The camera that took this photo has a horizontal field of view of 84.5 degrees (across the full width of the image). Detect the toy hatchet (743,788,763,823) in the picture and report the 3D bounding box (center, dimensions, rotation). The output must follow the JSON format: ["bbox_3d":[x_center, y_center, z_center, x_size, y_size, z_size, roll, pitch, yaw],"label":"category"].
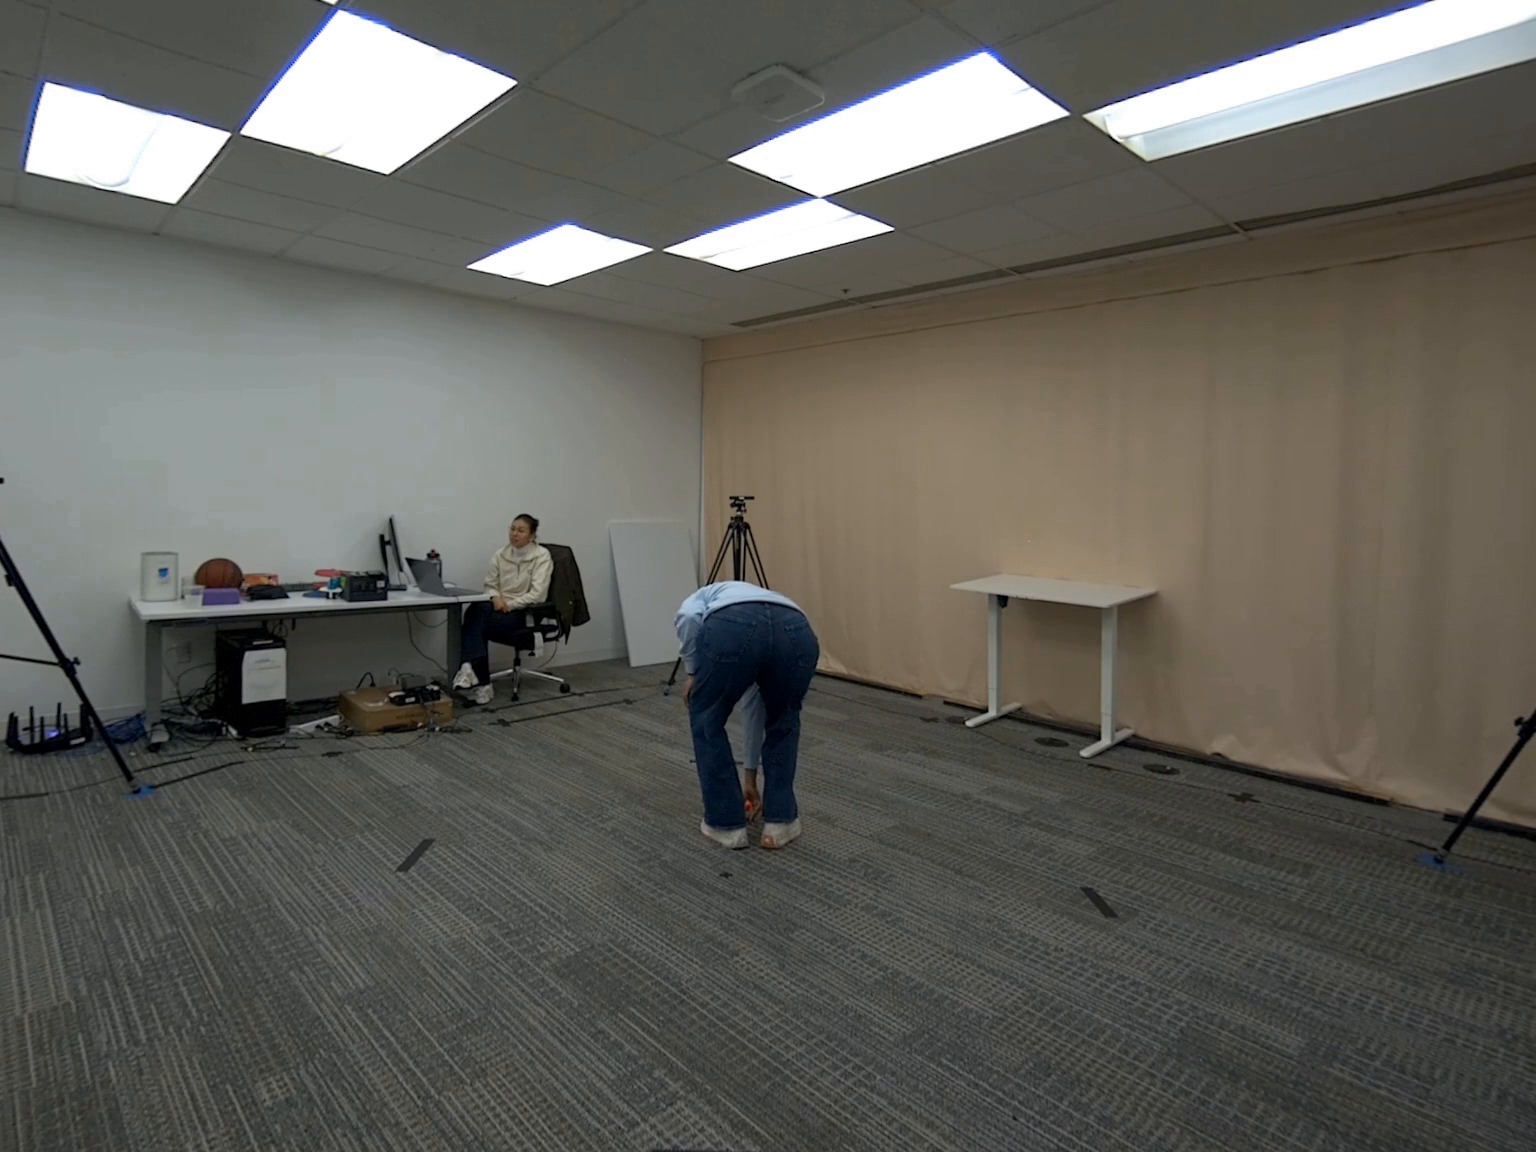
[{"bbox_3d":[-0.112,1.034,3.690,0.134,0.029,0.265,7,9,33],"label":"toy hatchet"}]
